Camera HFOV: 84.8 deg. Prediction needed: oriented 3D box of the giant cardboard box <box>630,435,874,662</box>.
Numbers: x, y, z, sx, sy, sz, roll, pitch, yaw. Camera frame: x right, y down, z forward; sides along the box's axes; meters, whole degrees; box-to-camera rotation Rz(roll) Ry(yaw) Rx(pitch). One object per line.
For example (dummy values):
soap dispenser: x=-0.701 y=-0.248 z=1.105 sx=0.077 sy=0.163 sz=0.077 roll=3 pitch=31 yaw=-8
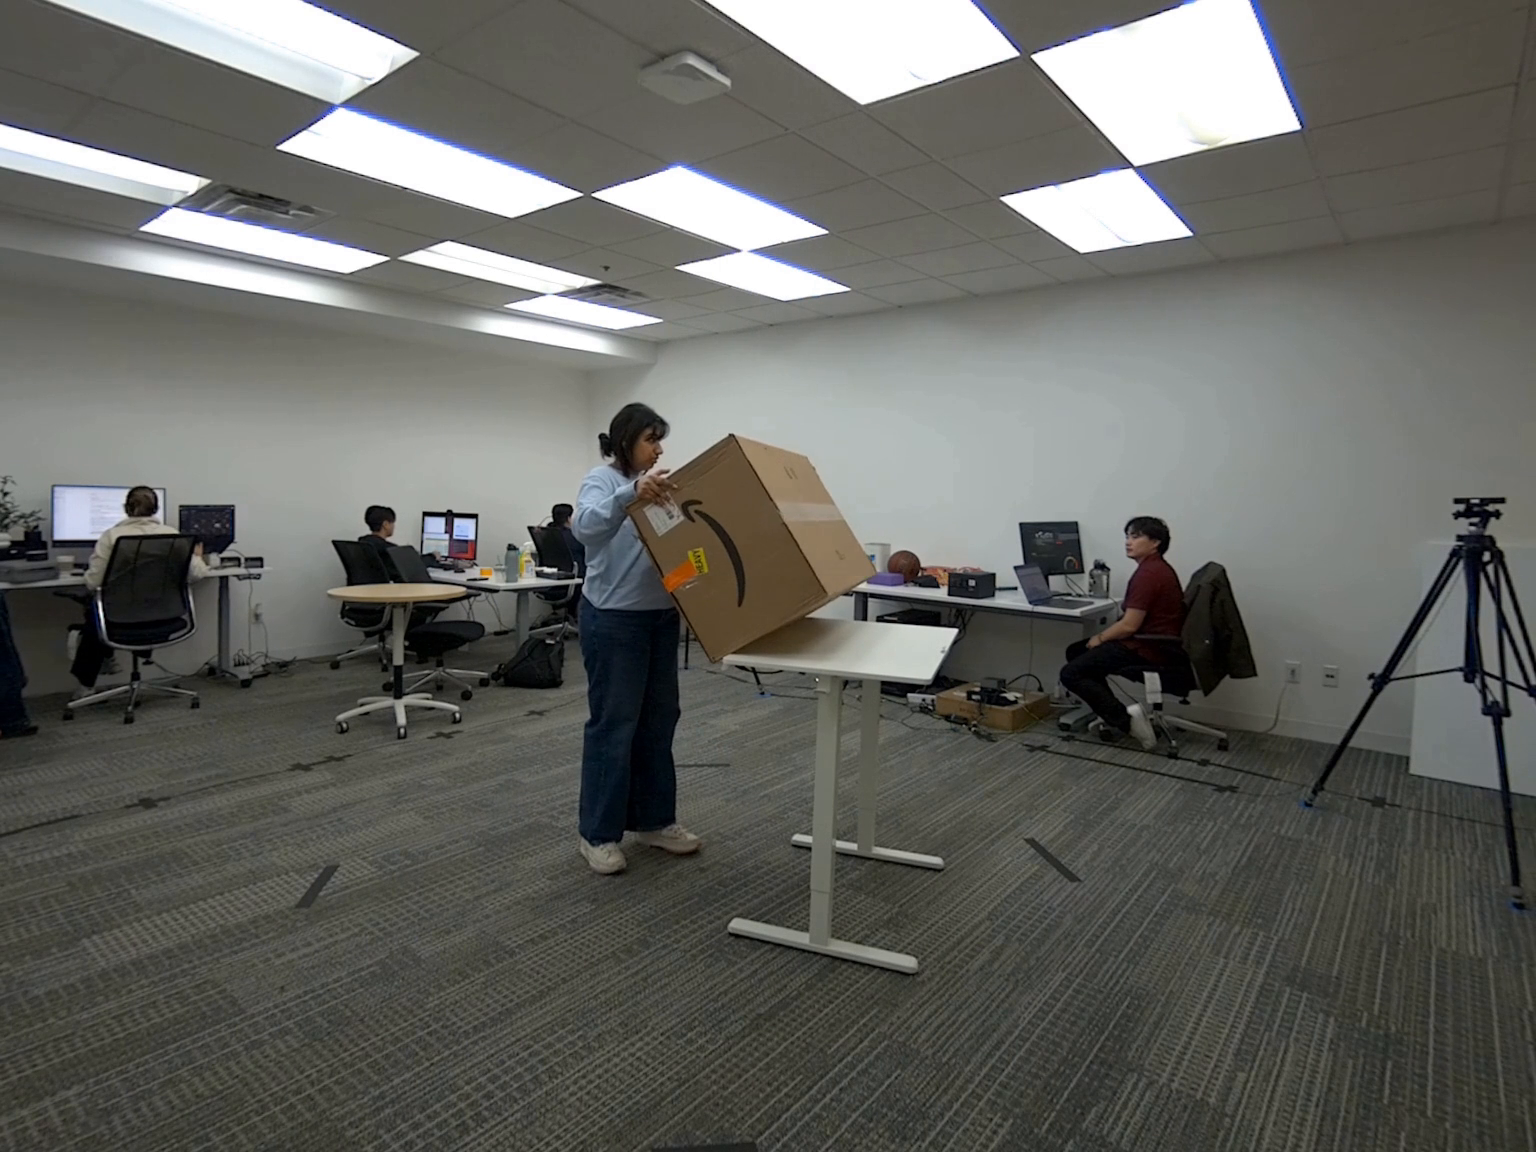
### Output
giant cardboard box: x=-0.012 y=-0.120 z=3.062 sx=0.428 sy=0.584 sz=1.010 roll=-33 pitch=-6 yaw=16
